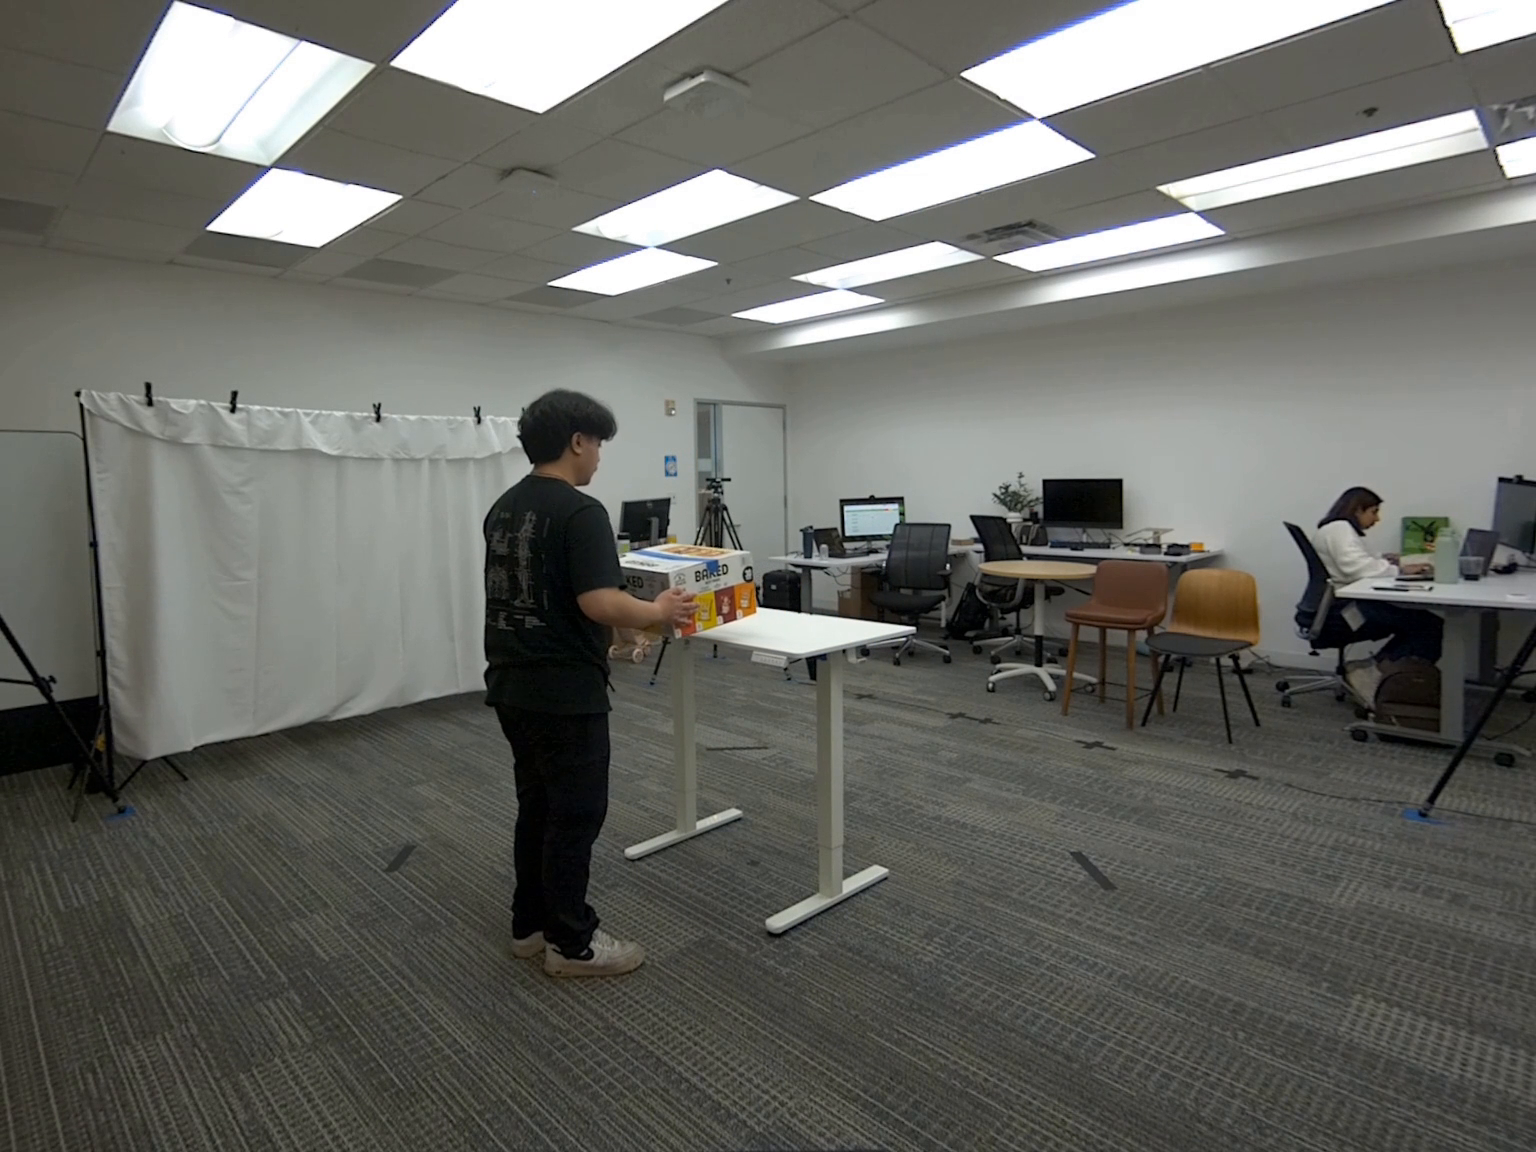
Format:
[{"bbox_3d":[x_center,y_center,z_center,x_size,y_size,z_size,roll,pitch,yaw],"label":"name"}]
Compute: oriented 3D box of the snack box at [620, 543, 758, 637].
[{"bbox_3d":[-0.304,0.036,2.746,0.333,0.204,0.418,-14,14,-42],"label":"snack box"}]
